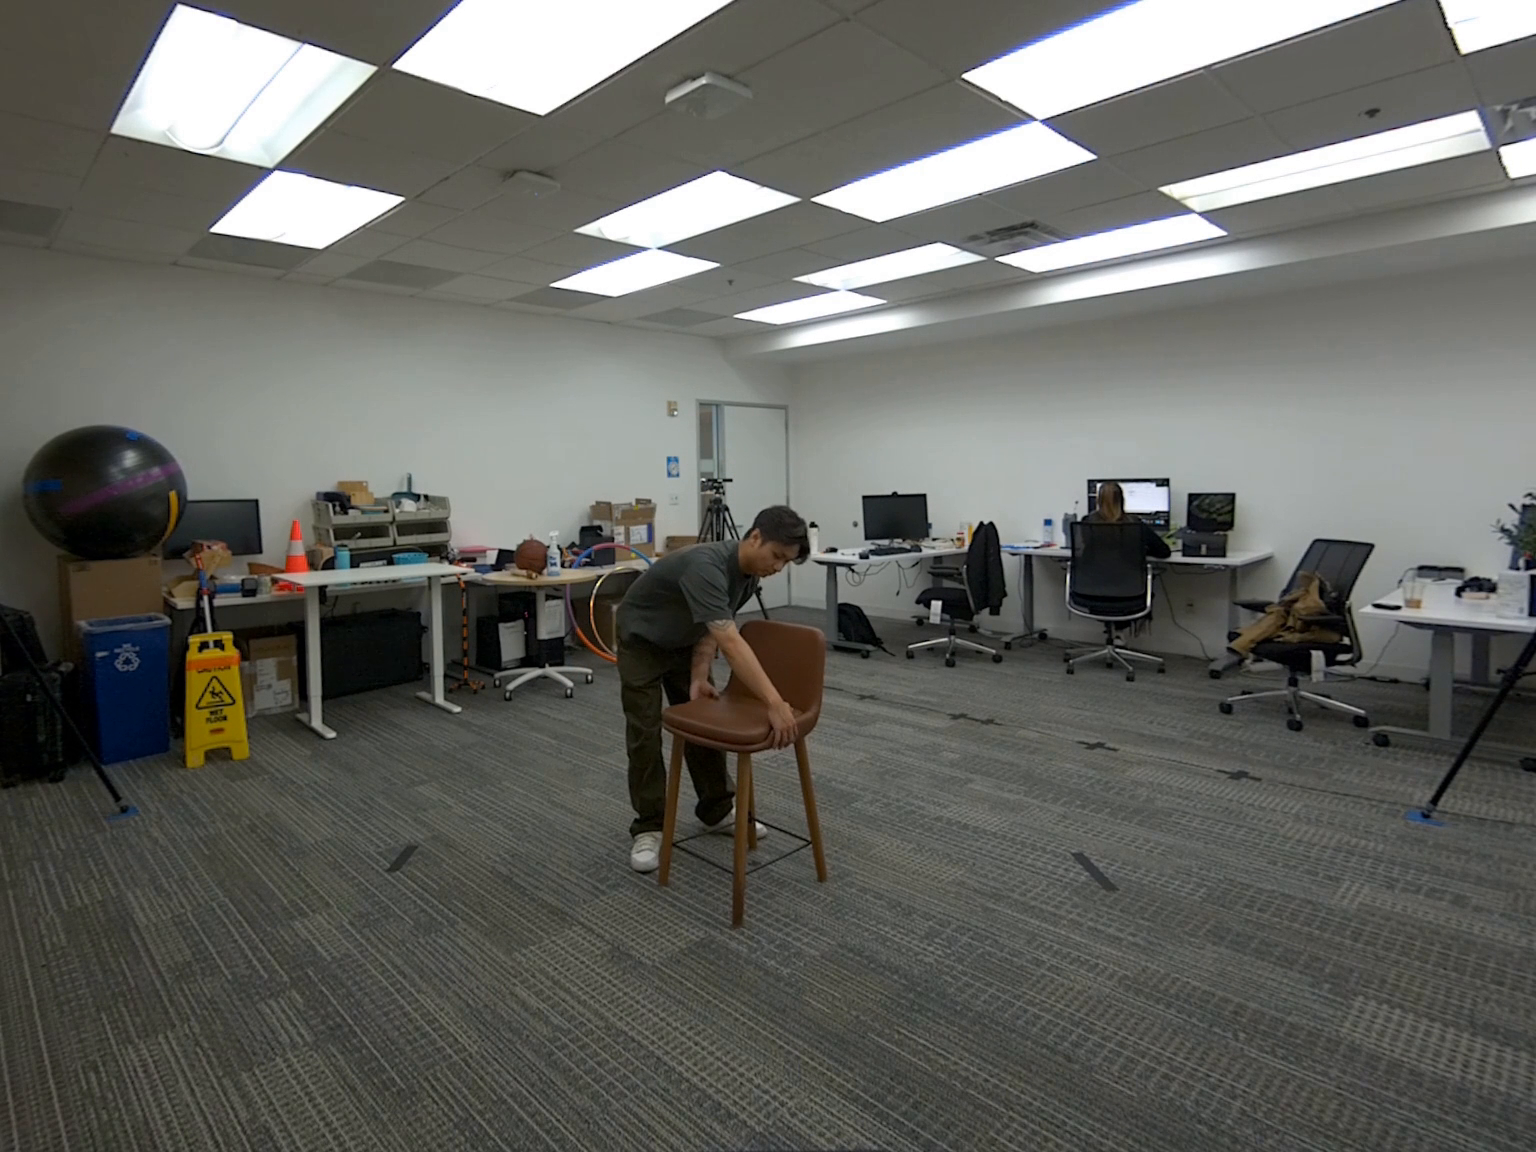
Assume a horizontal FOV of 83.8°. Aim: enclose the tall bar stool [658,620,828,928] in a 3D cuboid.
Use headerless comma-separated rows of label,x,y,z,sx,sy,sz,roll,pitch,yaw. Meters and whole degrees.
tall bar stool,-0.078,0.630,2.923,0.455,0.887,0.471,-4,5,-45
